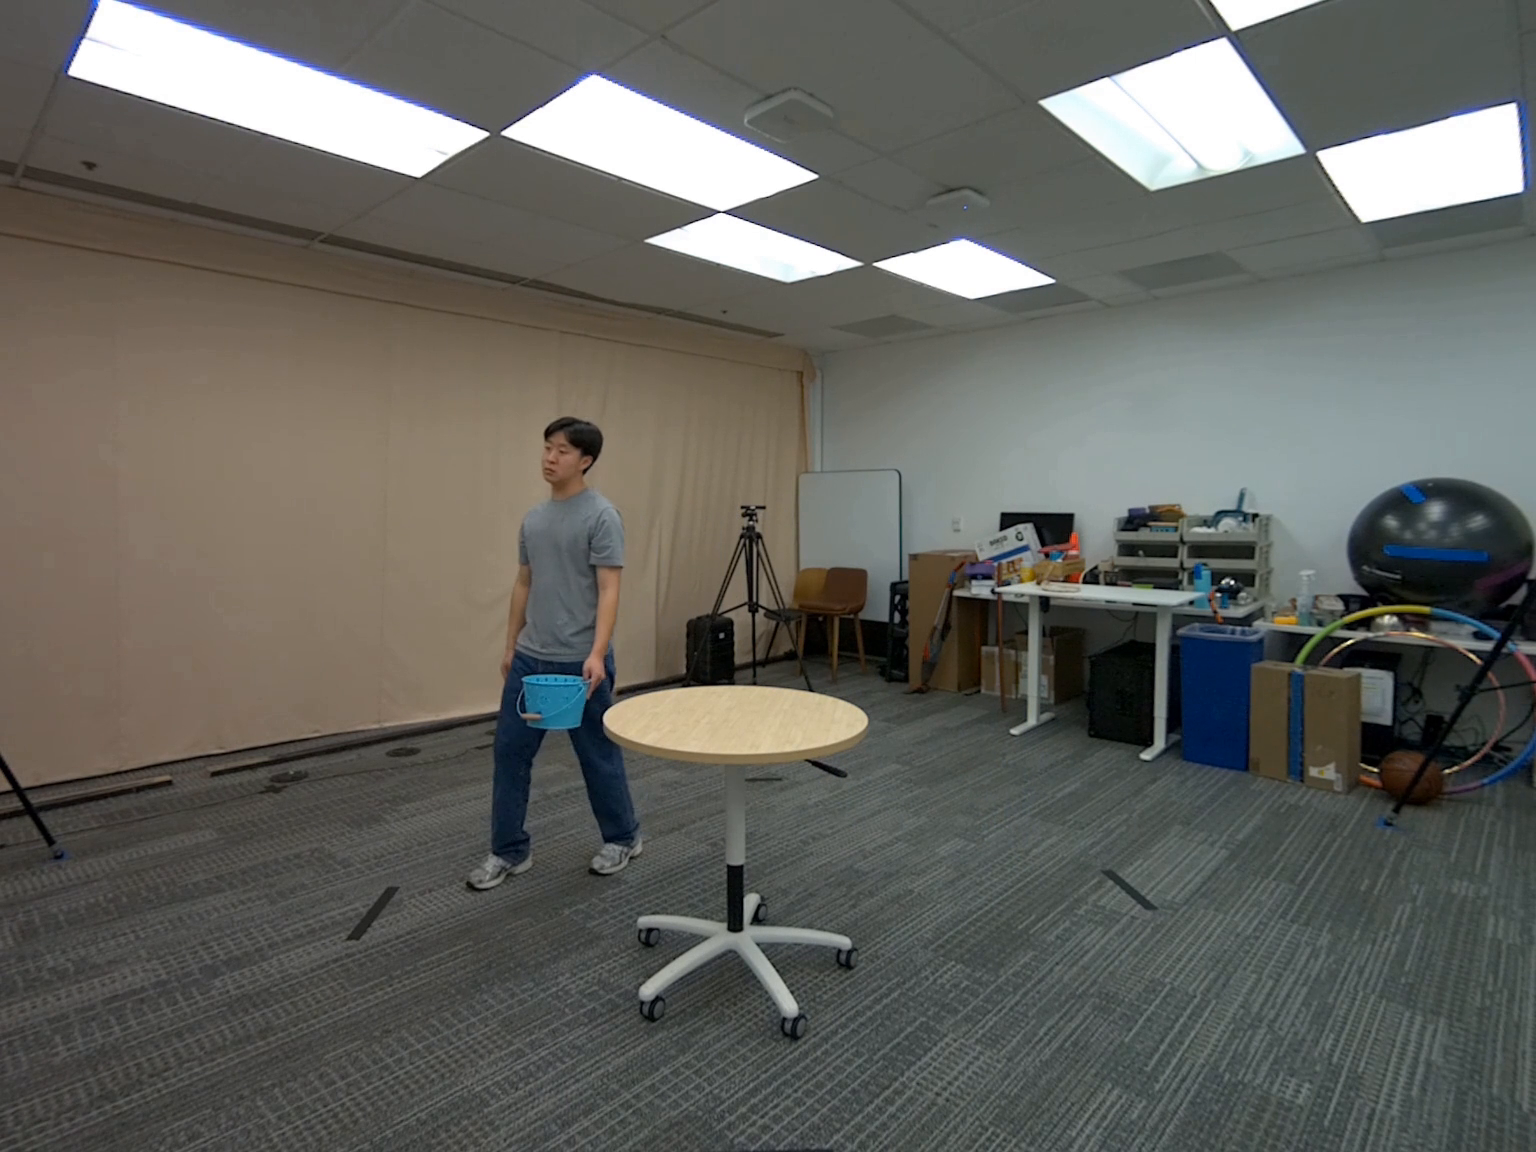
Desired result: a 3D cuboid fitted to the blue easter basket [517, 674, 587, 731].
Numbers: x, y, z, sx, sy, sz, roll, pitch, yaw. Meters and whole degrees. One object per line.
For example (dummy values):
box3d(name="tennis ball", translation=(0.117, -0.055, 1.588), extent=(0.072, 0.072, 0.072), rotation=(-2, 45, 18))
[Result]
box3d(name="blue easter basket", translation=(-0.722, 0.424, 2.870), extent=(0.243, 0.156, 0.244), rotation=(2, -1, -2))
